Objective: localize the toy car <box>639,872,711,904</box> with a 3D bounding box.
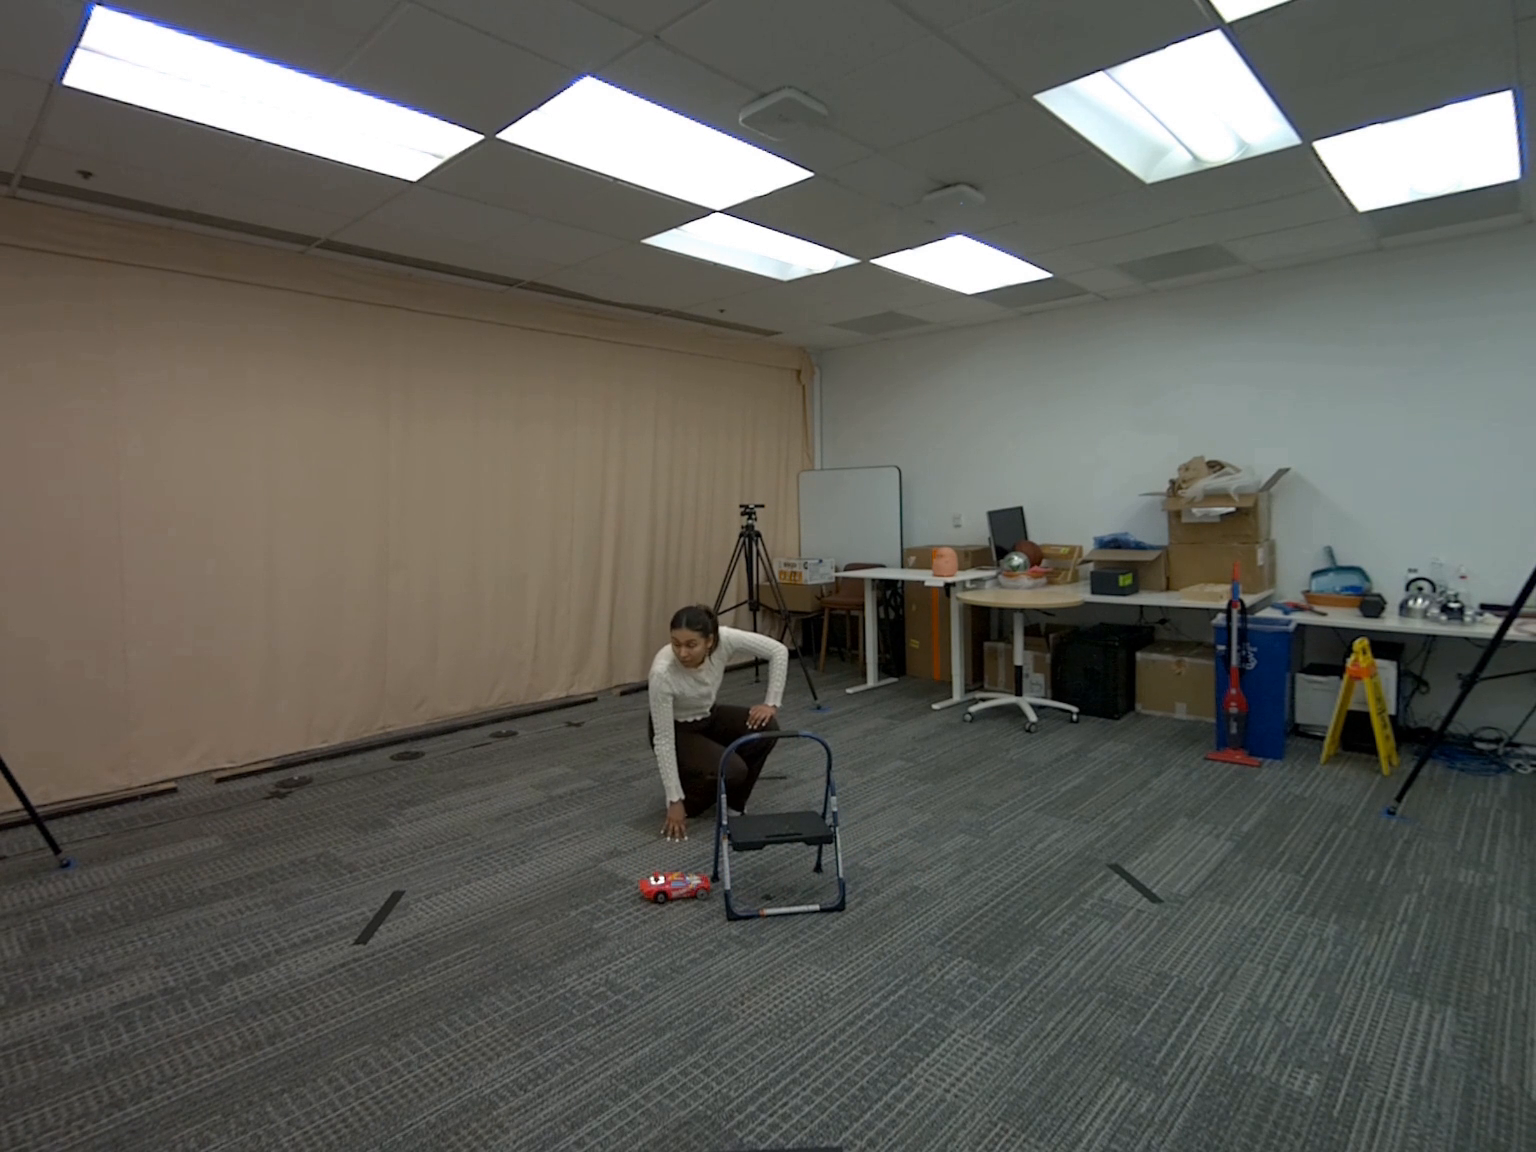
[{"bbox_3d":[-0.343,1.104,3.018,0.252,0.083,0.132,9,2,-9],"label":"toy car"}]
